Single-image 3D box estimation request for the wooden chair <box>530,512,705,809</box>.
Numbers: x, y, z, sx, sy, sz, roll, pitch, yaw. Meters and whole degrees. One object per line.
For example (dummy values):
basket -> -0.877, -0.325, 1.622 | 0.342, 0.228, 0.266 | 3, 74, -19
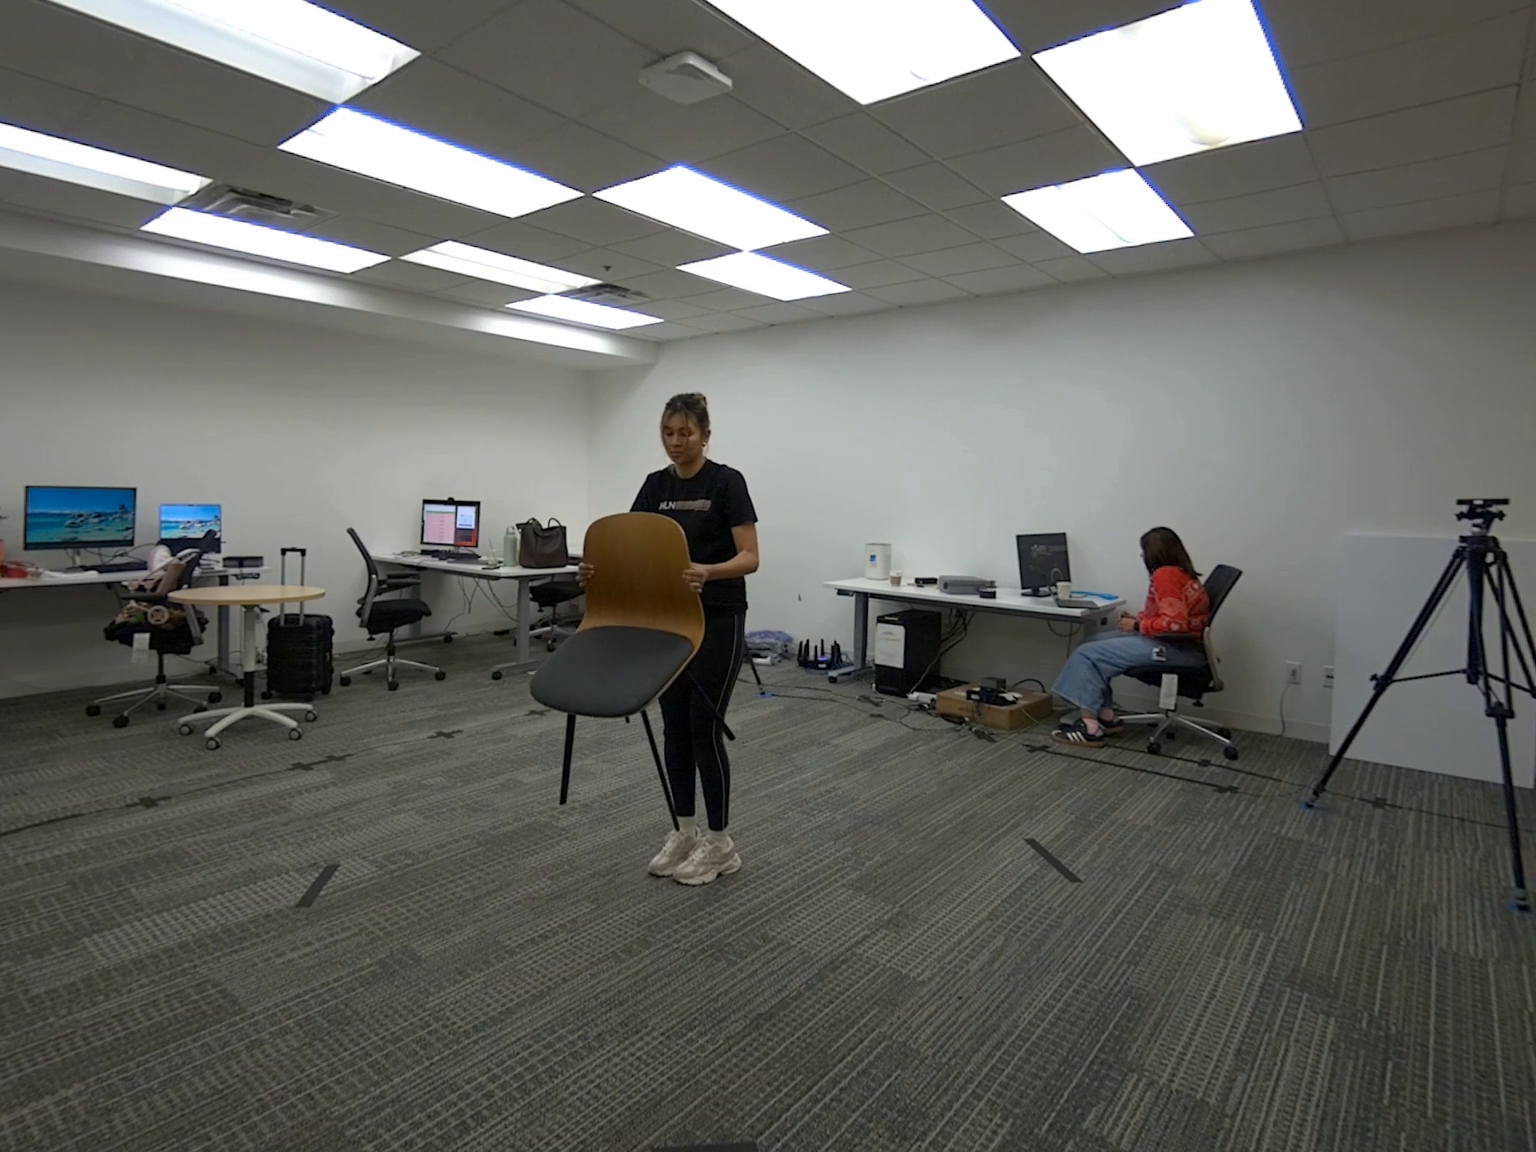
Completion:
wooden chair -> -0.472, 0.298, 2.728 | 0.491, 0.858, 0.521 | 4, 24, 24
